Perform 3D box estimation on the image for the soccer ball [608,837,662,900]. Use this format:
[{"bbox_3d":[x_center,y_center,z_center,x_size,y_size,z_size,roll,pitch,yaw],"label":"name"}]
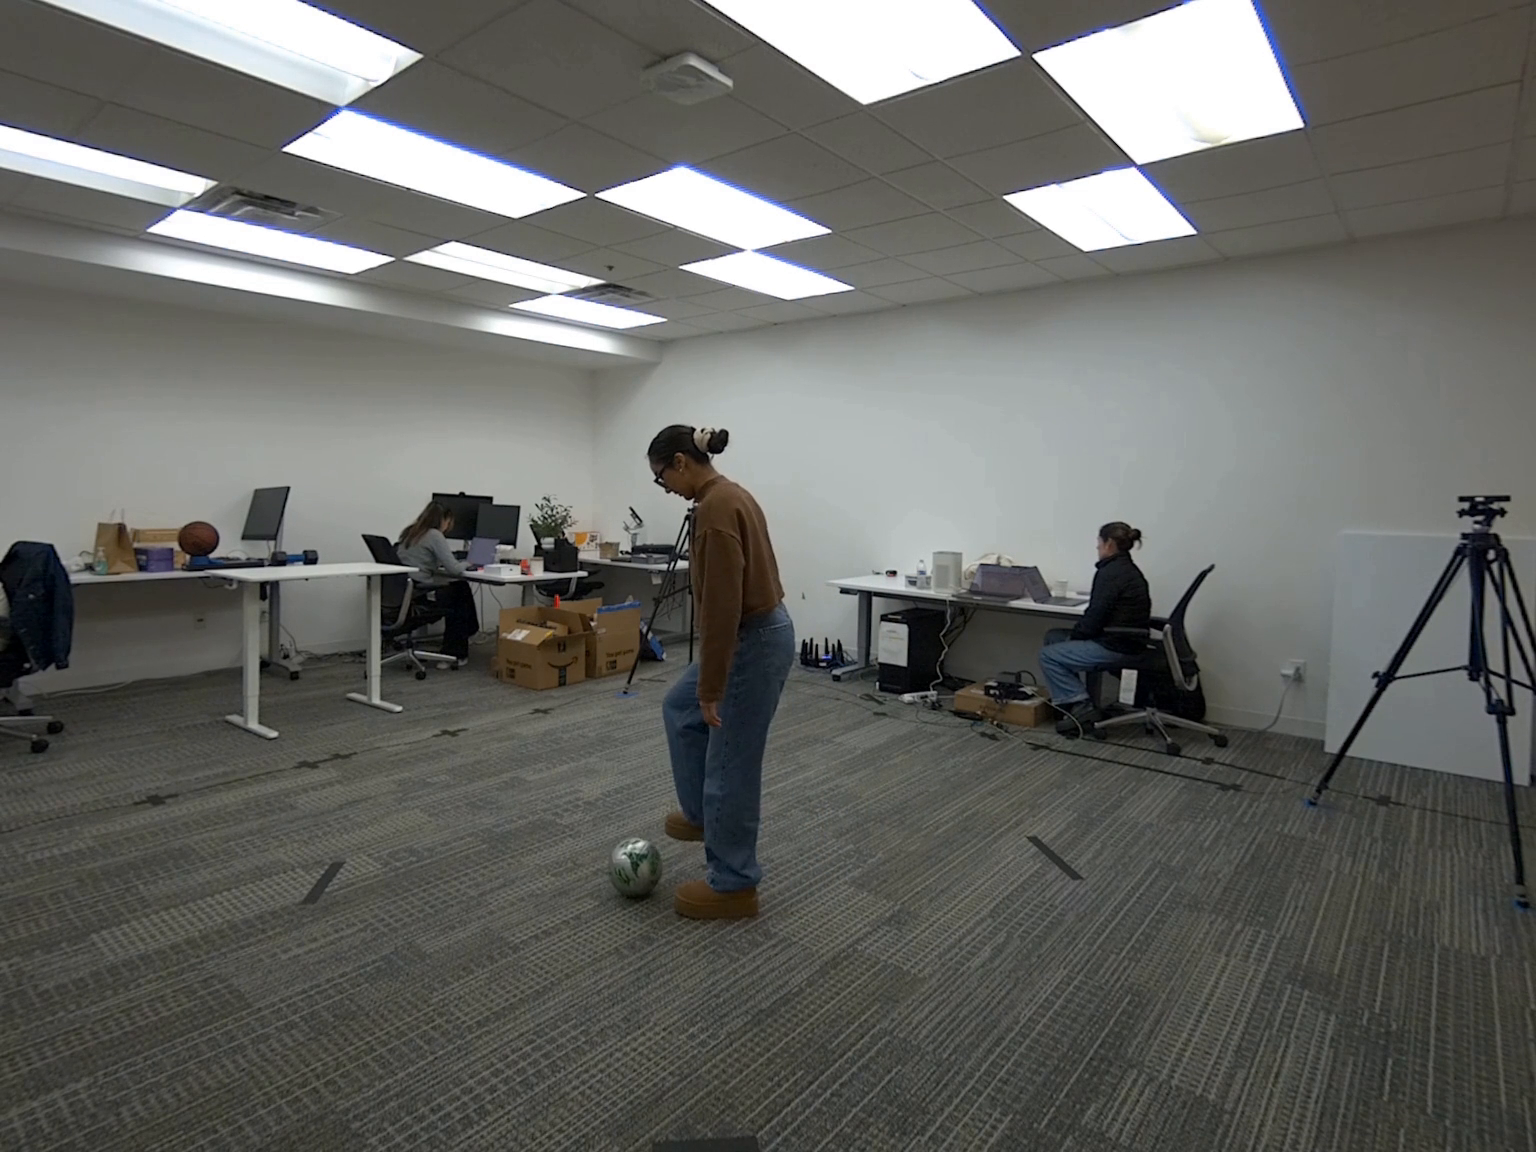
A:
[{"bbox_3d":[-0.458,0.987,2.898,0.187,0.187,0.188,1,4,-2],"label":"soccer ball"}]
